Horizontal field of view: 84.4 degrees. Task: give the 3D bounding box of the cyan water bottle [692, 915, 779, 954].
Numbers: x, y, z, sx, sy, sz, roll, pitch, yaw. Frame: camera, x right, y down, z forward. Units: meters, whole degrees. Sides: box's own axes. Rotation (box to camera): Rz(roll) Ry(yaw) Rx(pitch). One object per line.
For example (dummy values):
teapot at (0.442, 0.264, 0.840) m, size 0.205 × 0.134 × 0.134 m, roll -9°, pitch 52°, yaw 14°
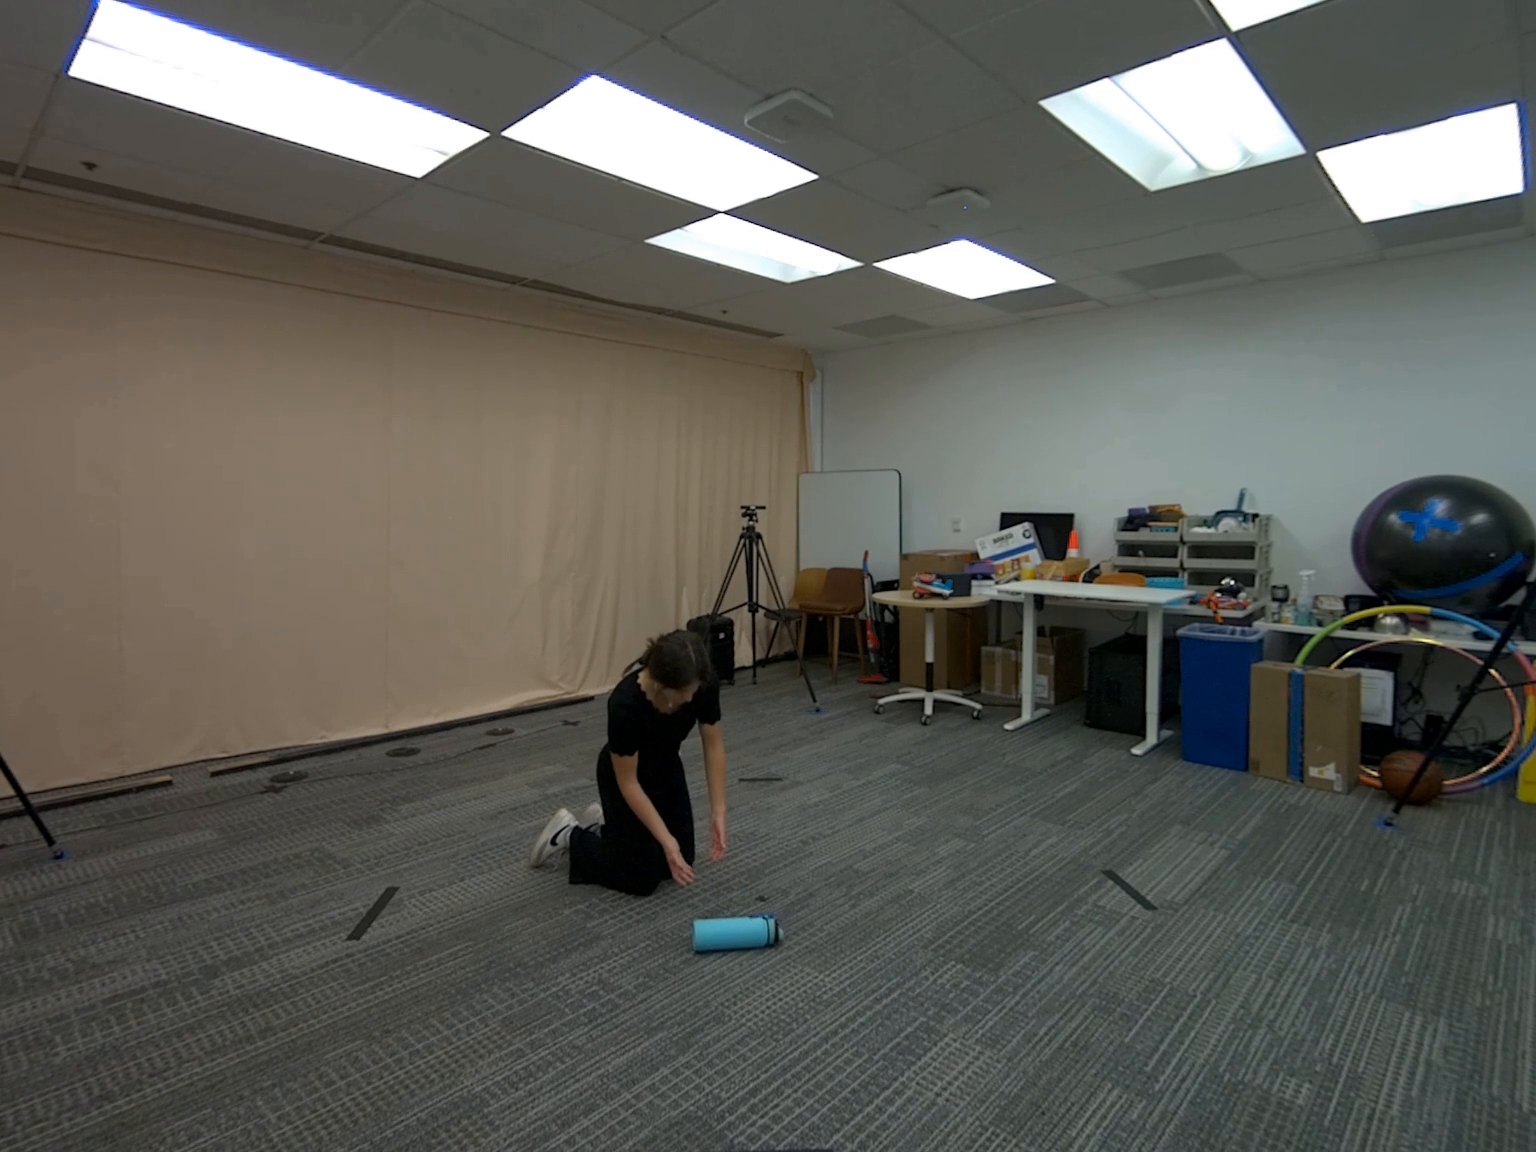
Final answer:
cyan water bottle at (-0.090, 1.126, 2.655) m, size 0.281 × 0.092 × 0.093 m, roll -1°, pitch 4°, yaw -7°
